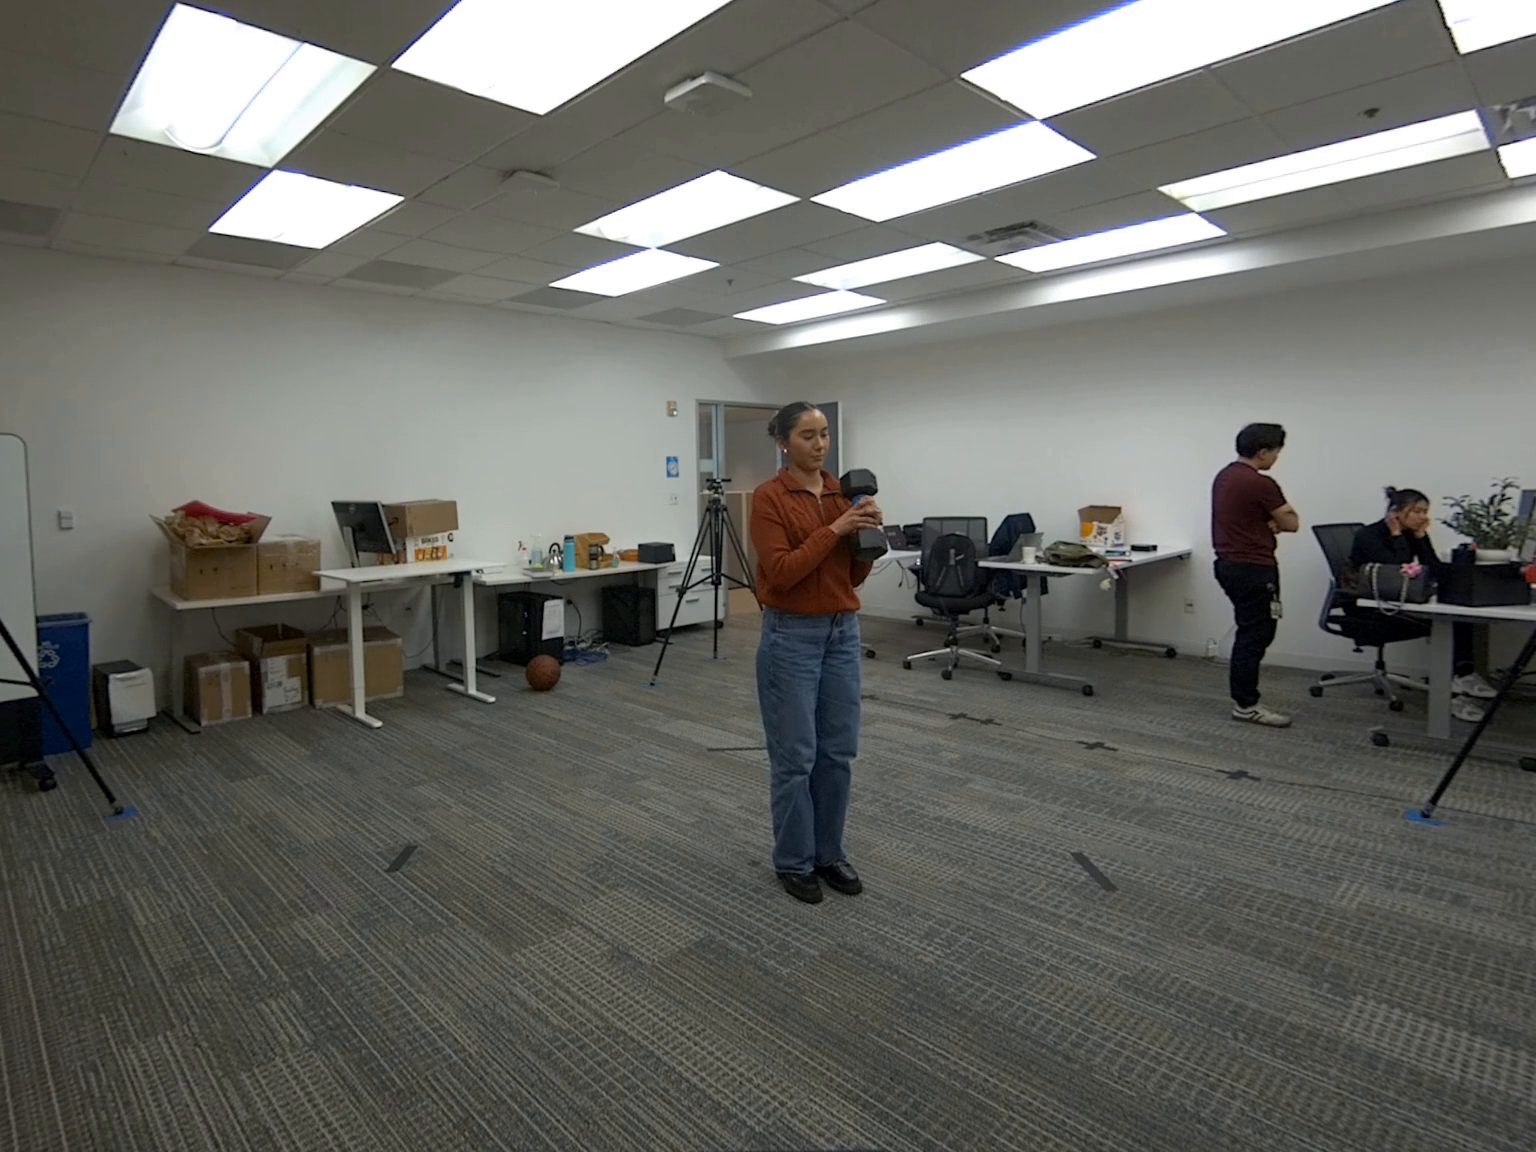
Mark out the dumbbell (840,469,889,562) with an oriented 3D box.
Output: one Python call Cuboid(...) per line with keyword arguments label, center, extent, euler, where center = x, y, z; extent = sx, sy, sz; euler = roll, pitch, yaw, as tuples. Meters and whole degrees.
Cuboid(label="dumbbell", center=(0.299, -0.201, 2.773), extent=(0.106, 0.300, 0.123), euler=(5, -26, -25))
